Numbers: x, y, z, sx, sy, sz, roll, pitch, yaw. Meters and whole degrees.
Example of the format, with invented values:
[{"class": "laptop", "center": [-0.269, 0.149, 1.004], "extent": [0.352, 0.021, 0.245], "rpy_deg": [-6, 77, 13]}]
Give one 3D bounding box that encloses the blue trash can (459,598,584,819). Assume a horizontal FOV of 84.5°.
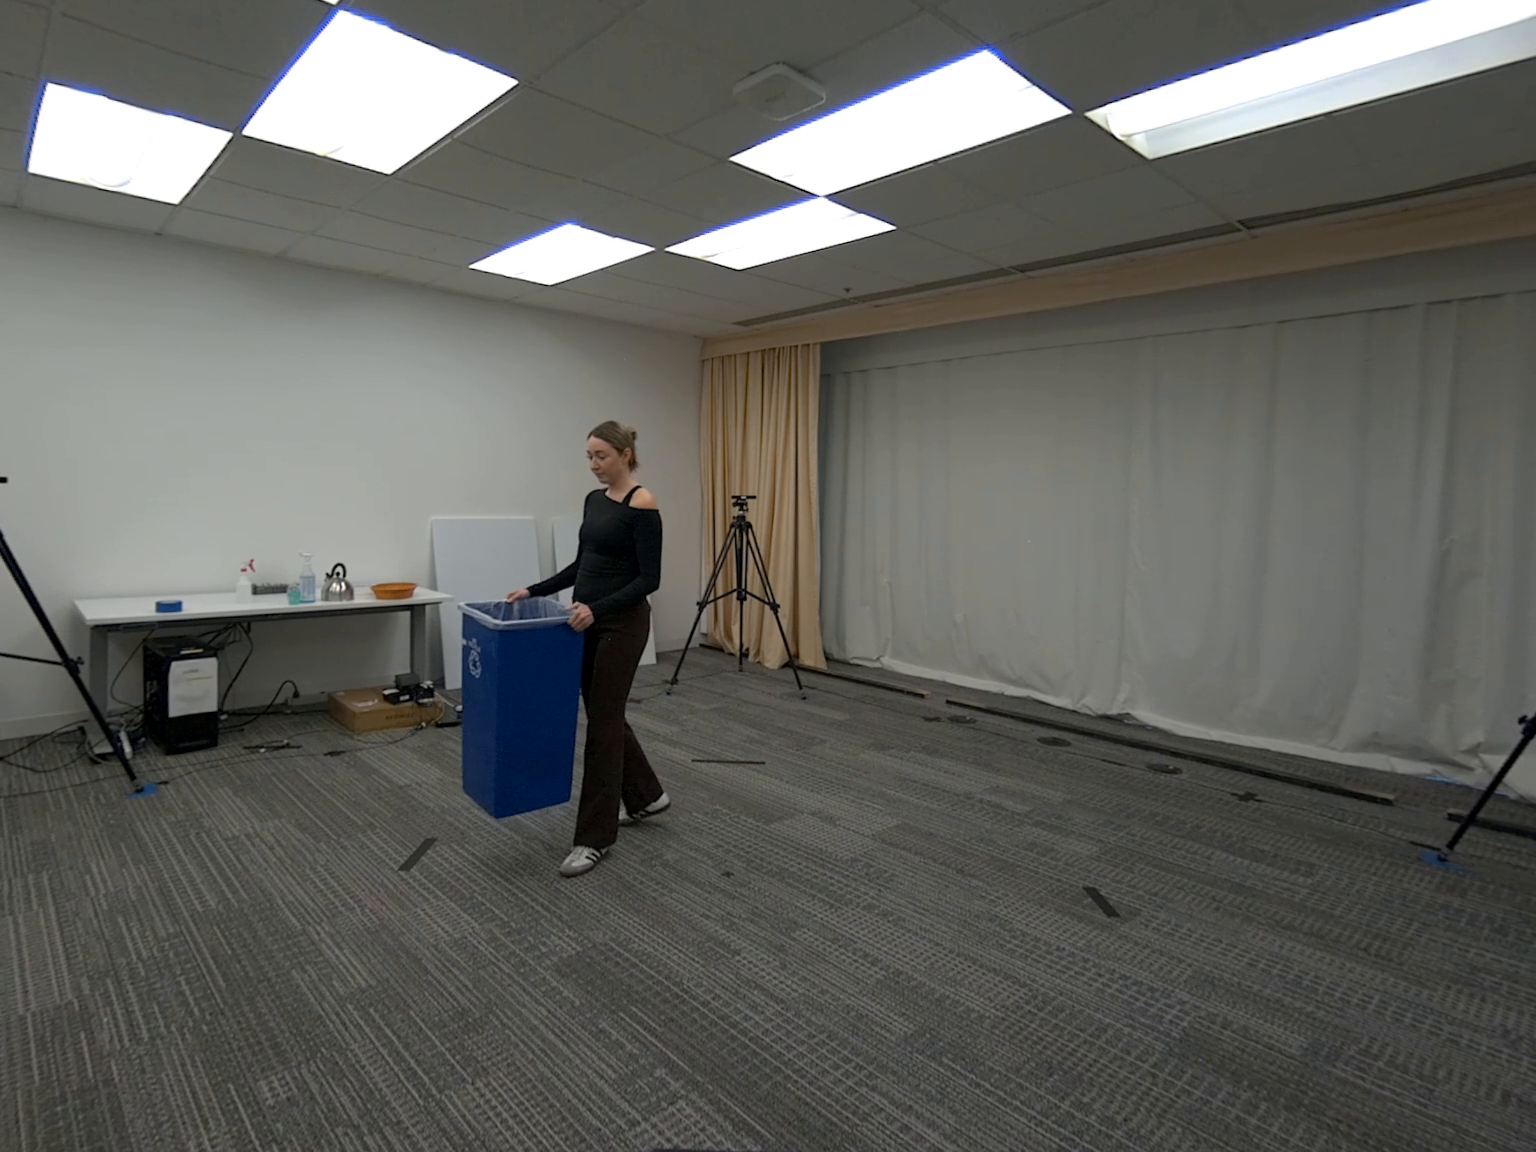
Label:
[{"class": "blue trash can", "center": [-0.915, 0.472, 3.094], "extent": [0.369, 0.710, 0.384], "rpy_deg": [-3, 9, -41]}]
